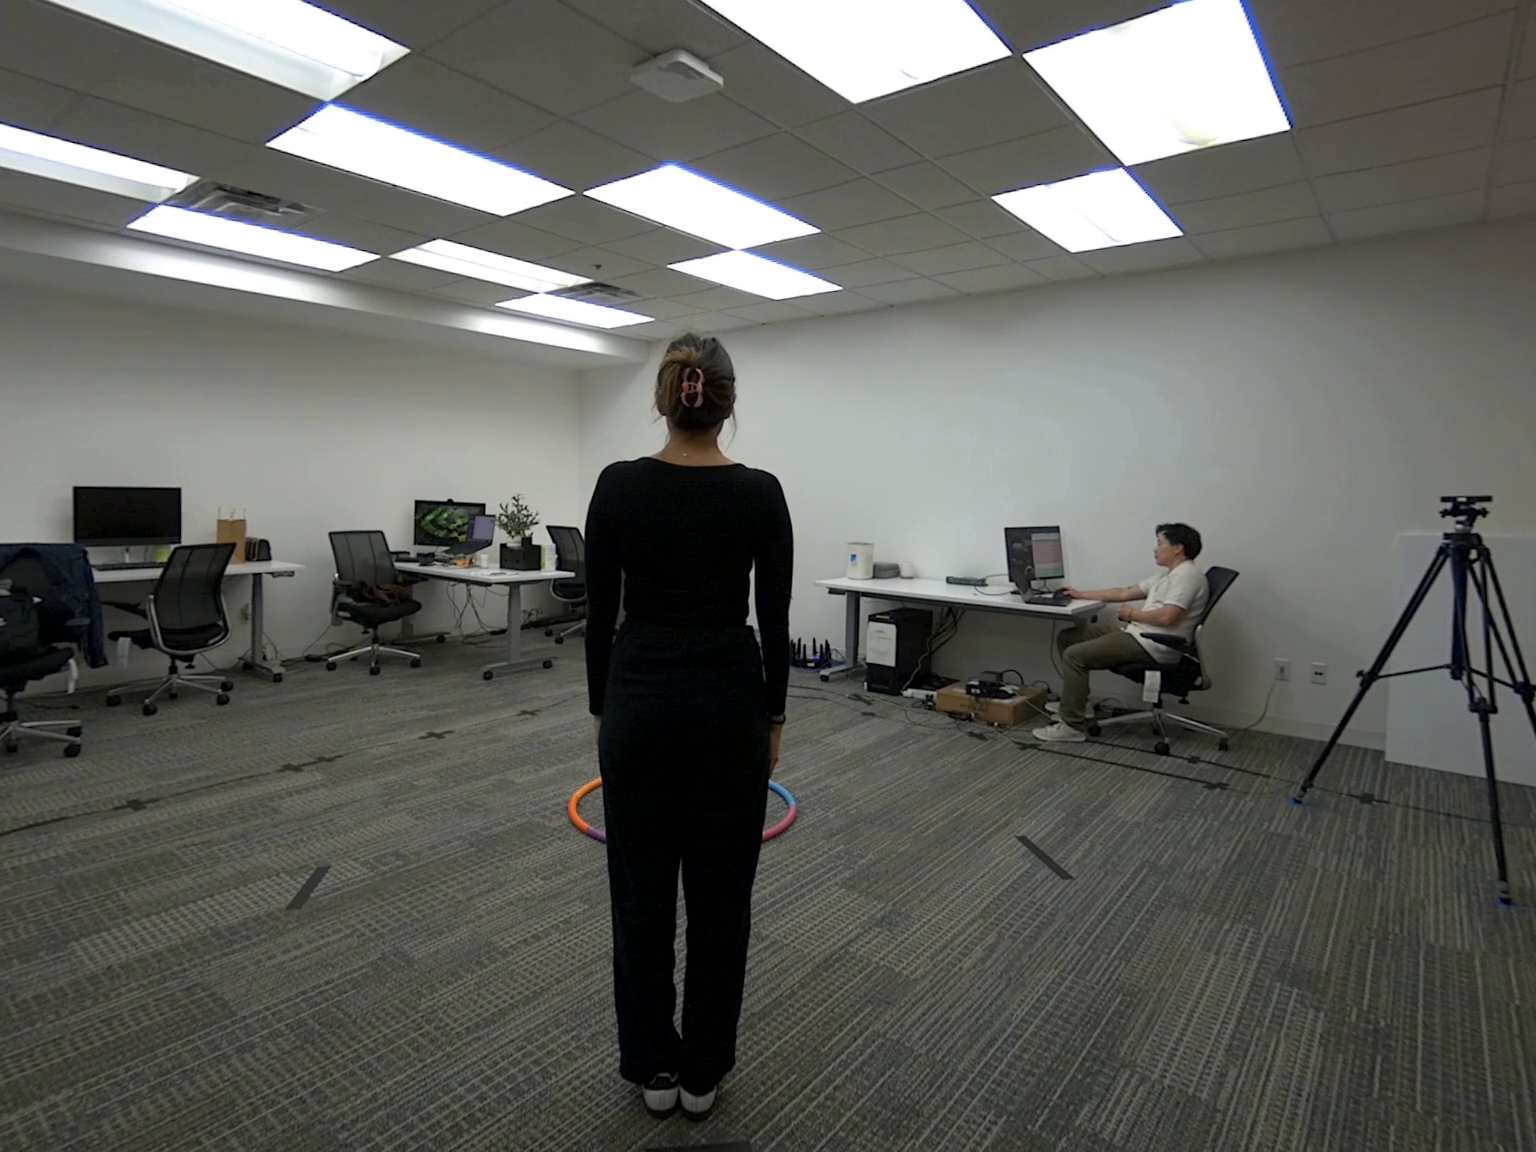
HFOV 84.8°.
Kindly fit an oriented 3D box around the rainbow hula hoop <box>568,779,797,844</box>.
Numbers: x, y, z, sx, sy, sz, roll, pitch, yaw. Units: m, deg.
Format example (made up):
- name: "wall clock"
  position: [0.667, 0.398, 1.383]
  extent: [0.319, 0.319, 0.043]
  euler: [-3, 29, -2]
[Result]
- name: "rainbow hula hoop"
  position: [-0.380, 0.972, 3.693]
  extent: [0.978, 0.035, 0.984]
  euler: [1, 6, -2]
